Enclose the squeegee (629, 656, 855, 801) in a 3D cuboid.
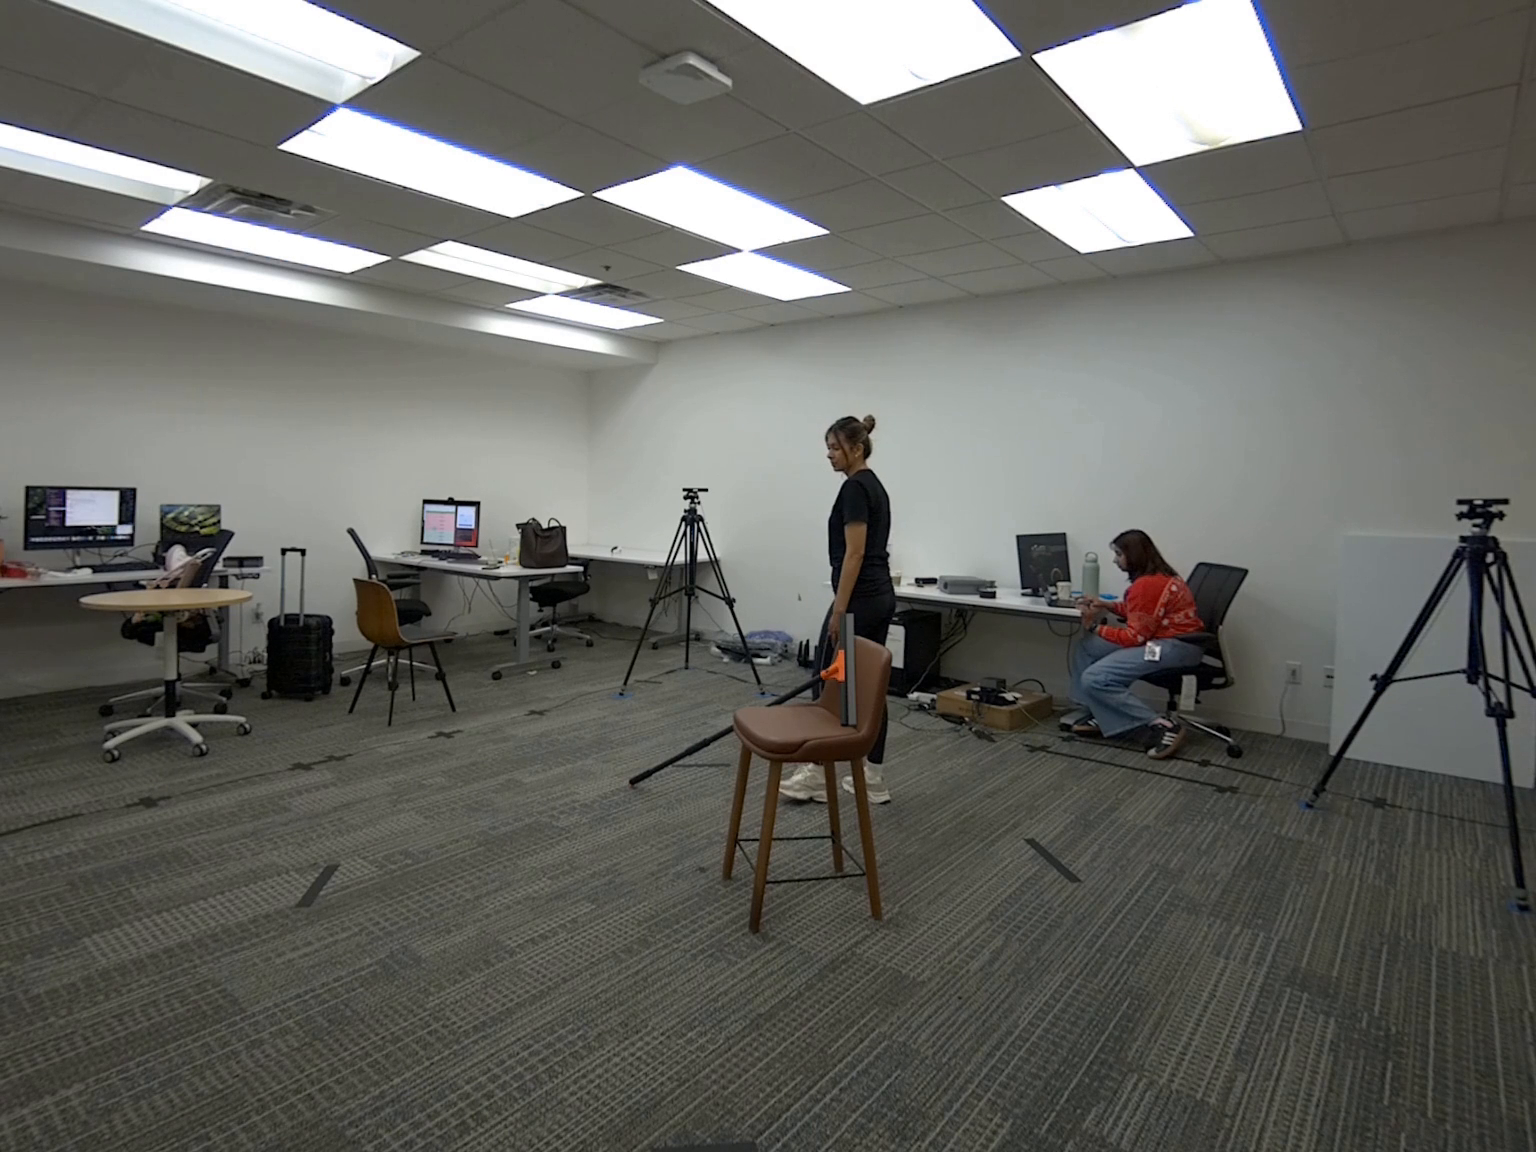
[{"bbox_3d":[-0.205,0.626,3.449,0.051,0.449,1.550,22,-38,-31],"label":"squeegee"}]
